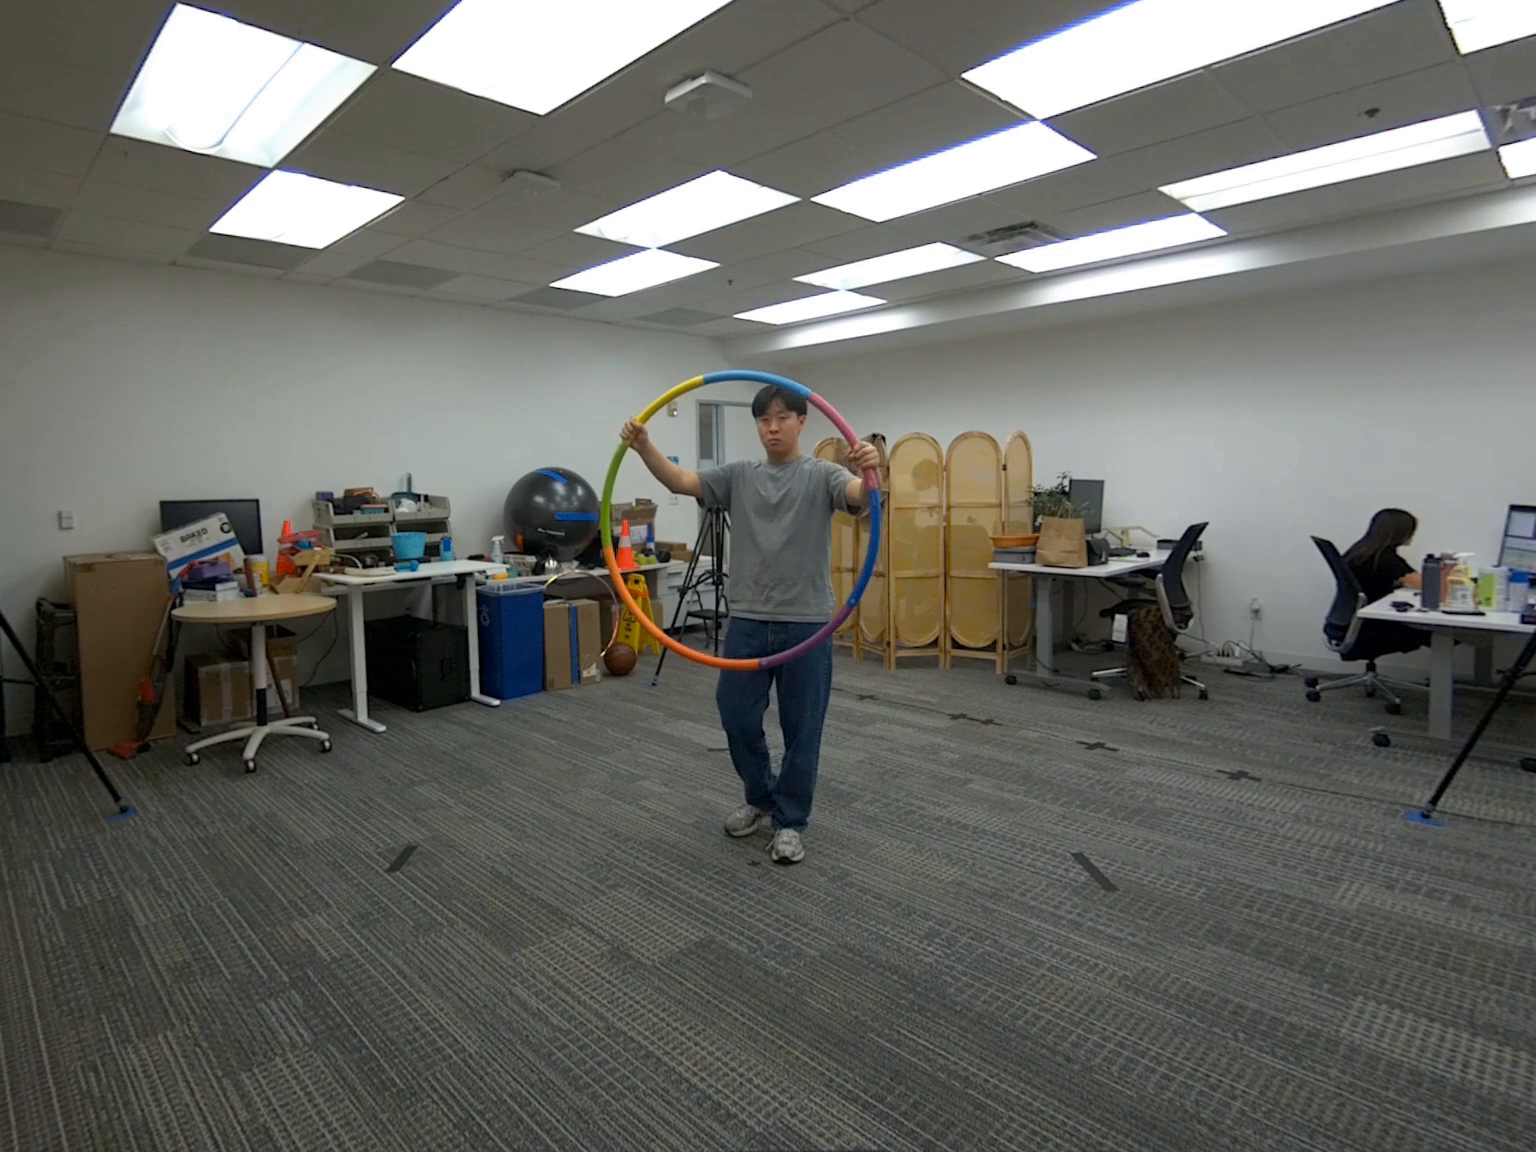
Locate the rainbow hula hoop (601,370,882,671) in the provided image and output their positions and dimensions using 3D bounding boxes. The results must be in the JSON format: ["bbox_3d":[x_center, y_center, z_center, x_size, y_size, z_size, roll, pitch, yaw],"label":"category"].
[{"bbox_3d":[-0.123,-0.174,2.827,0.998,0.976,0.035,1,3,21],"label":"rainbow hula hoop"}]
